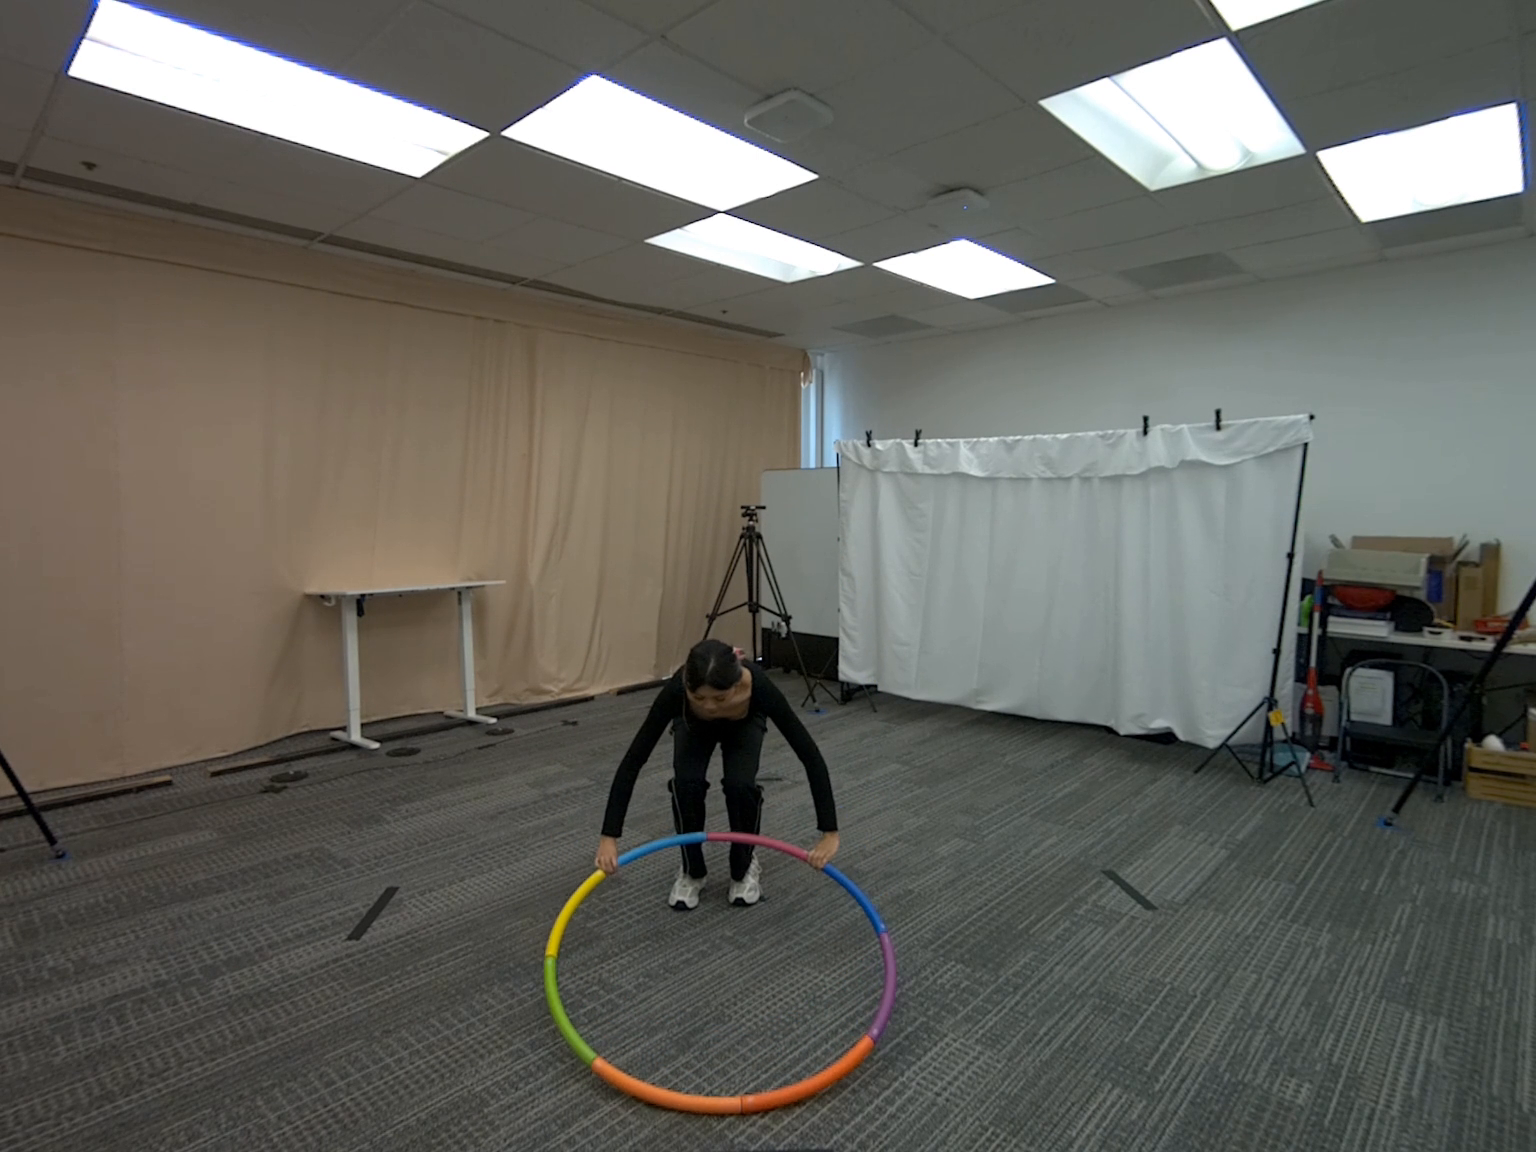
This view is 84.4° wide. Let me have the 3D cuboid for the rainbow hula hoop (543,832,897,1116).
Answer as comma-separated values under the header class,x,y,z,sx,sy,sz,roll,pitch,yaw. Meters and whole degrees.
class,x,y,z,sx,sy,sz,roll,pitch,yaw
rainbow hula hoop,-0.114,1.041,2.382,0.978,0.035,0.991,-1,21,-2
